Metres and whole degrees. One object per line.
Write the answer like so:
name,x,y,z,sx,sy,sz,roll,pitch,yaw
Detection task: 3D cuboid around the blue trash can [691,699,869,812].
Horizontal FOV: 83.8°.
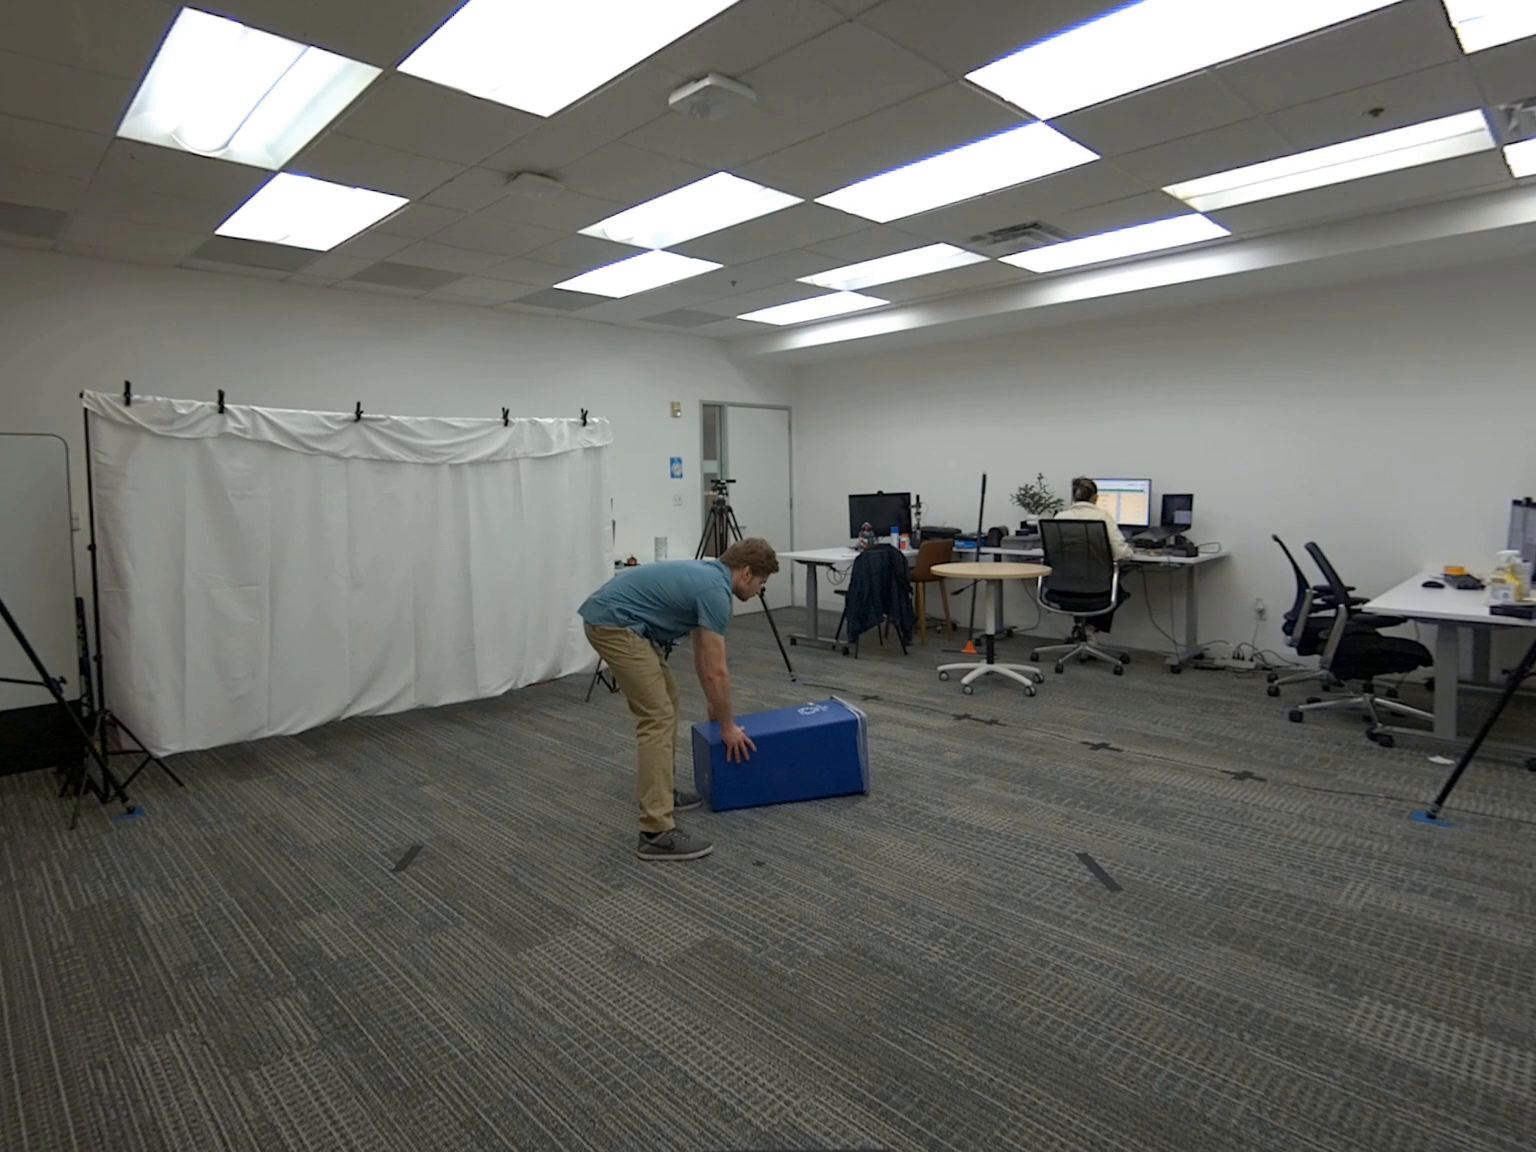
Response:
blue trash can,0.050,0.795,3.815,0.703,0.376,0.381,-7,6,-17
